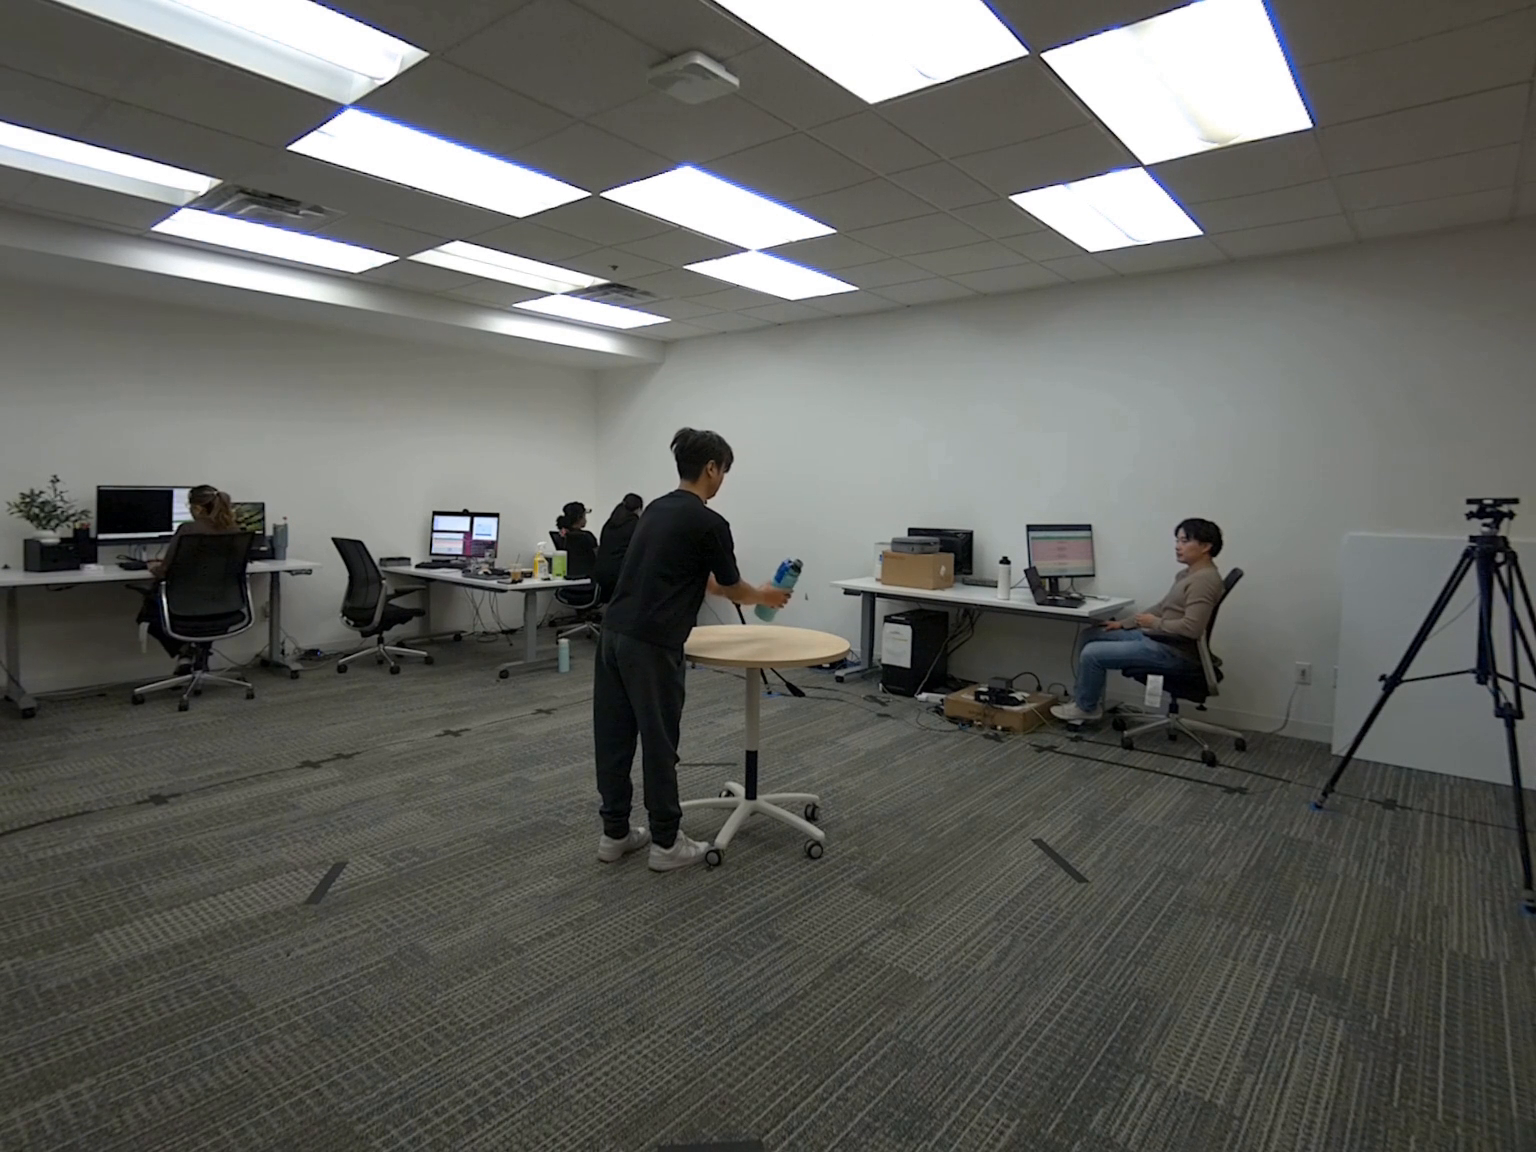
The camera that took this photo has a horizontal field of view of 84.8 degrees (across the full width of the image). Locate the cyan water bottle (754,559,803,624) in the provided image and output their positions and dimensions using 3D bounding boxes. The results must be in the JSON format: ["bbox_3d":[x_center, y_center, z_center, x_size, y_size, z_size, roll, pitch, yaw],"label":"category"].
[{"bbox_3d":[0.031,0.065,3.445,0.091,0.282,0.094,26,22,-13],"label":"cyan water bottle"}]
